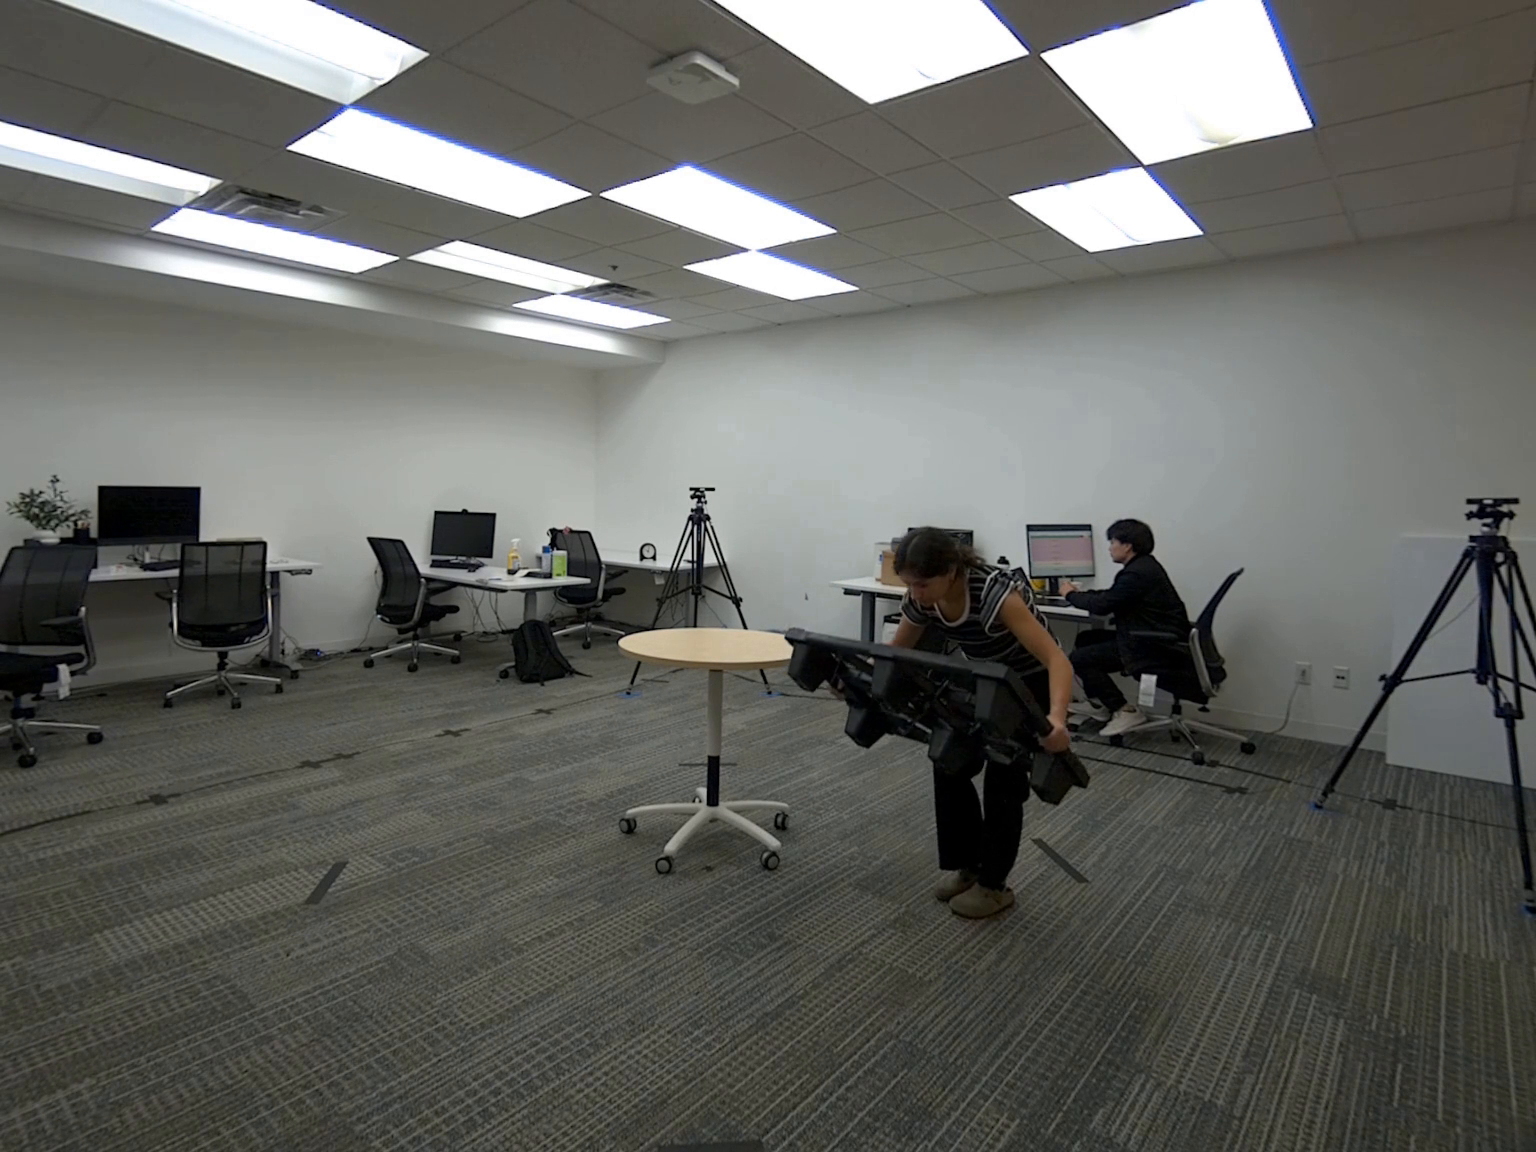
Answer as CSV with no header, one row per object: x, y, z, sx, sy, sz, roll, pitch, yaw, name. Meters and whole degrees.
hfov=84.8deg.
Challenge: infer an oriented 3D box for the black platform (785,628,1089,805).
0.458,0.420,2.583,0.833,0.144,0.582,7,-33,49,black platform
